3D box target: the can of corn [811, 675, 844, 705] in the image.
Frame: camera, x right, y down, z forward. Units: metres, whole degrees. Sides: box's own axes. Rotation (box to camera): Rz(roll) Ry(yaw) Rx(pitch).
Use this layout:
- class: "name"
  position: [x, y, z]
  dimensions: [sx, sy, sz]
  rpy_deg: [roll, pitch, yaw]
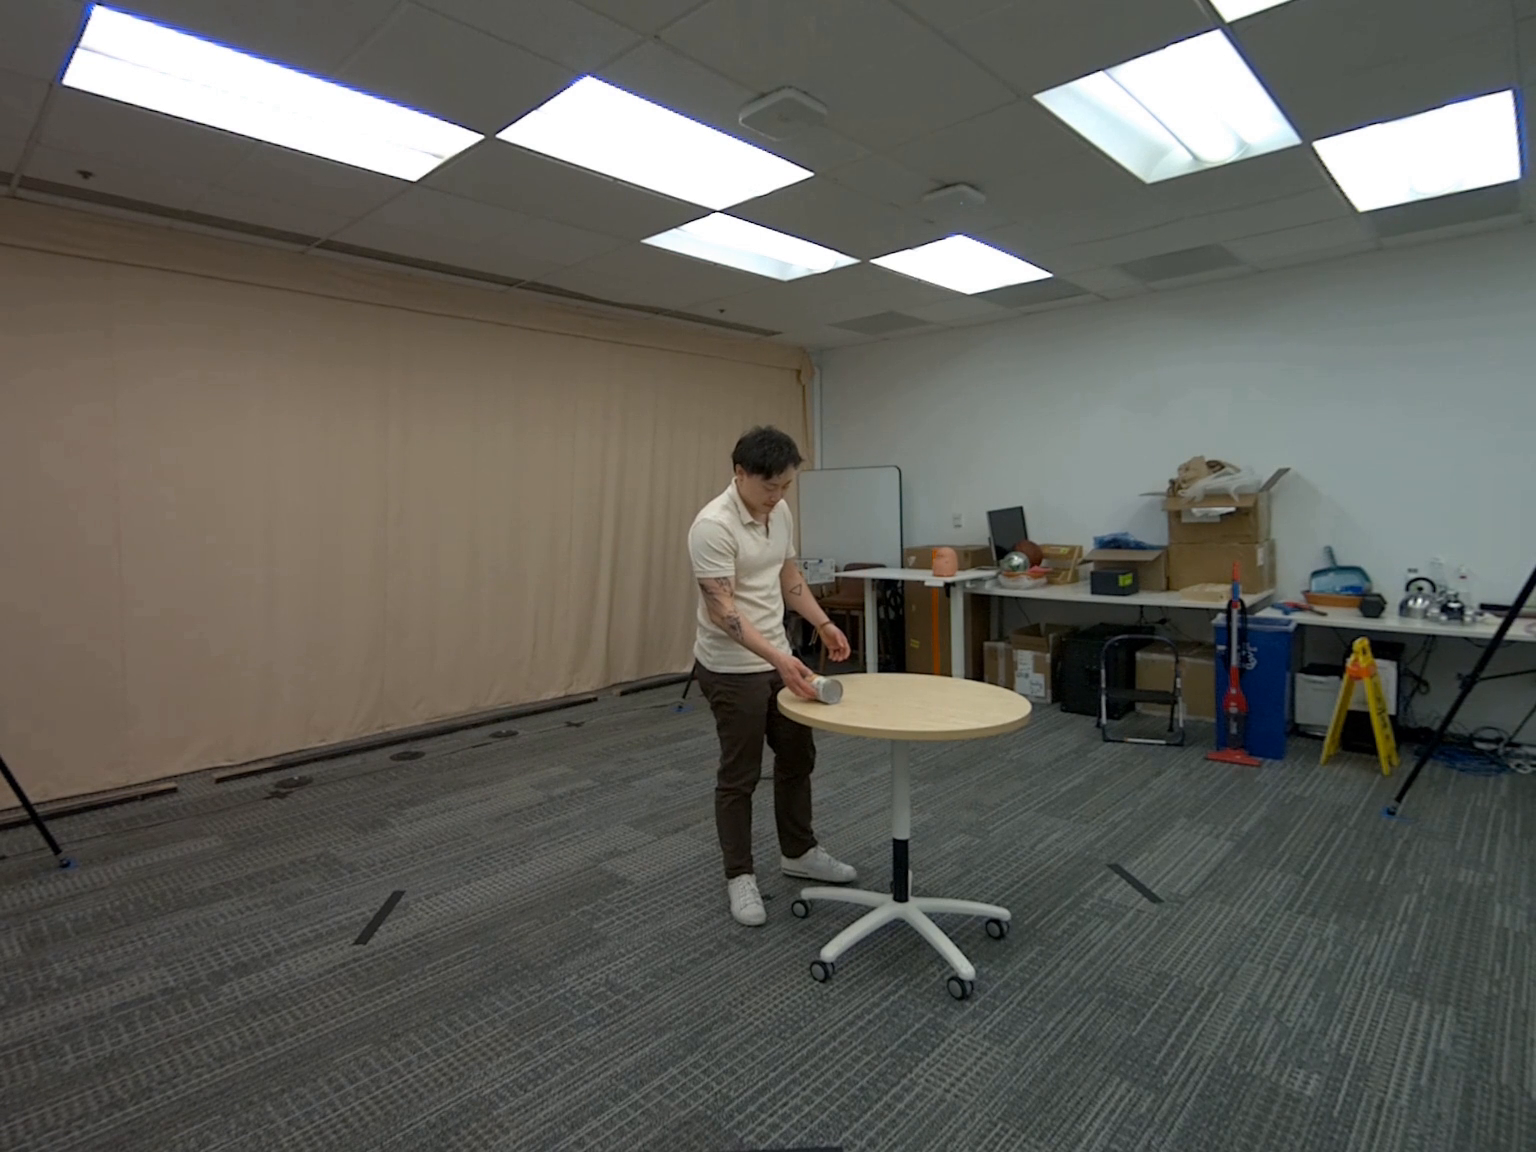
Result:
- class: "can of corn"
  position: [0.170, 0.350, 2.580]
  dimensions: [0.072, 0.074, 0.114]
  rpy_deg: [-2, 6, -23]
